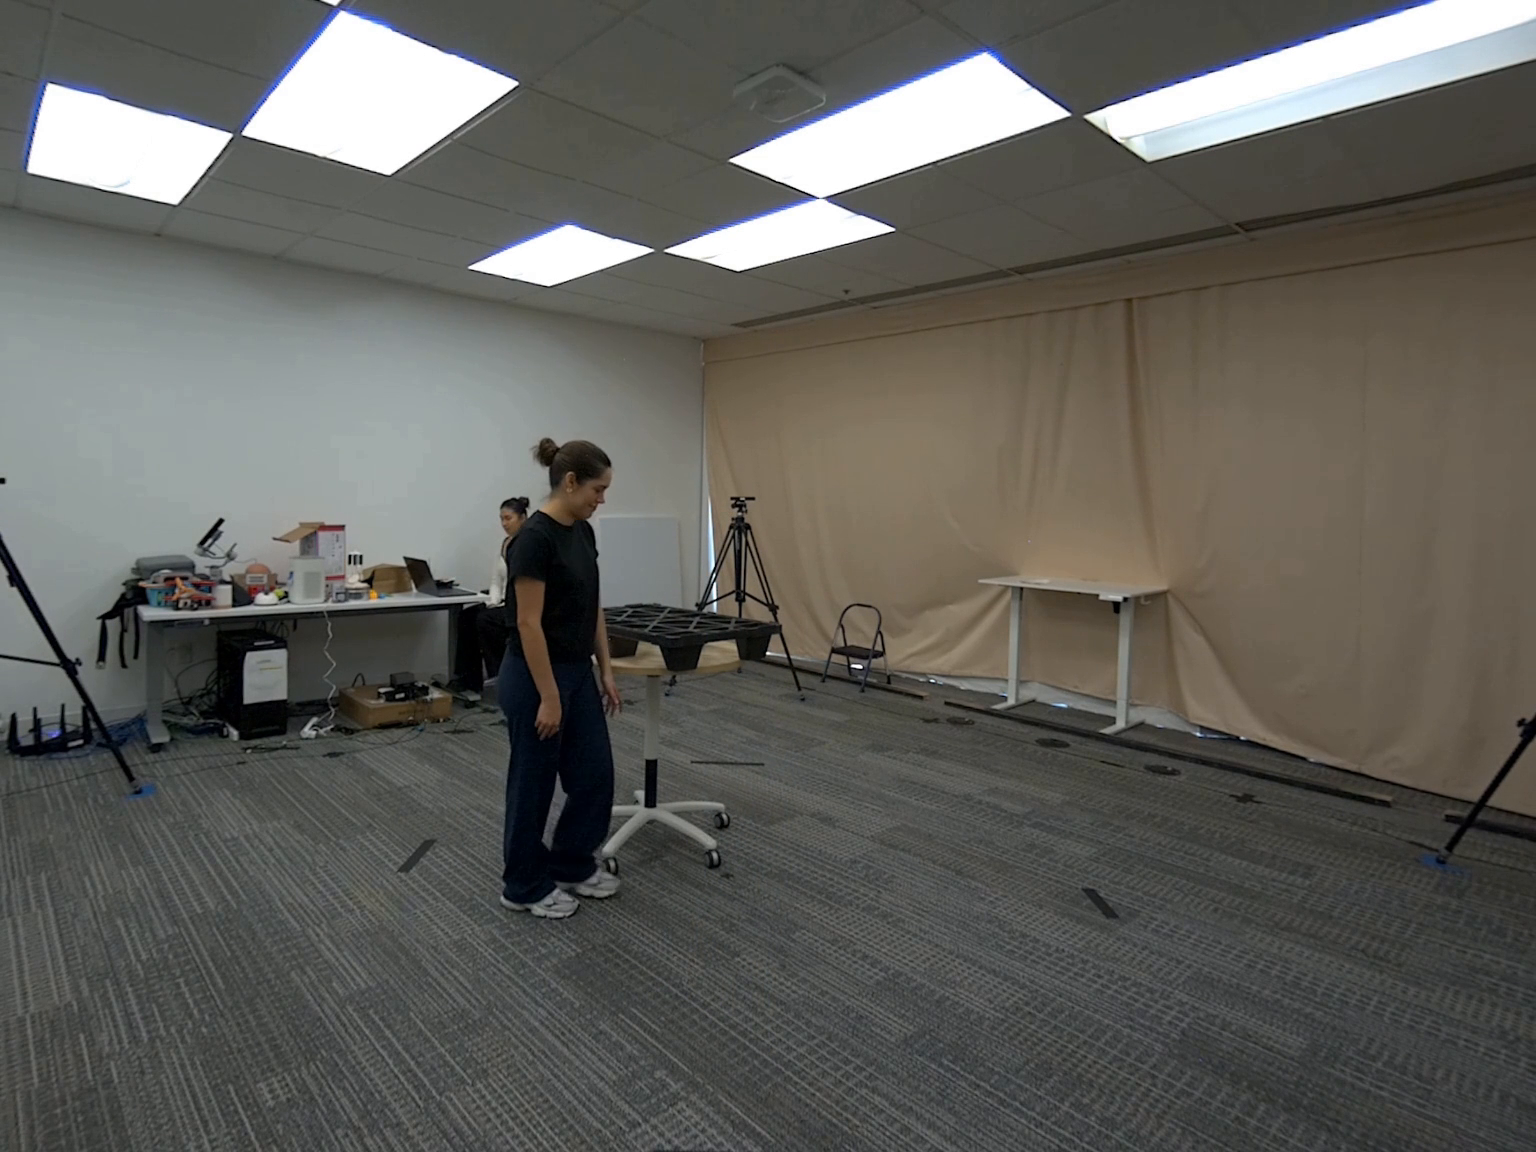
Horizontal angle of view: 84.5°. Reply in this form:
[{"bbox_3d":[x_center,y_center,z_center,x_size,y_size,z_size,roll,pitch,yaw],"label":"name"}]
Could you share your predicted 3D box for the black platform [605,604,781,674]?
[{"bbox_3d":[-0.438,0.236,3.333,0.826,0.143,0.591,7,7,43],"label":"black platform"}]
